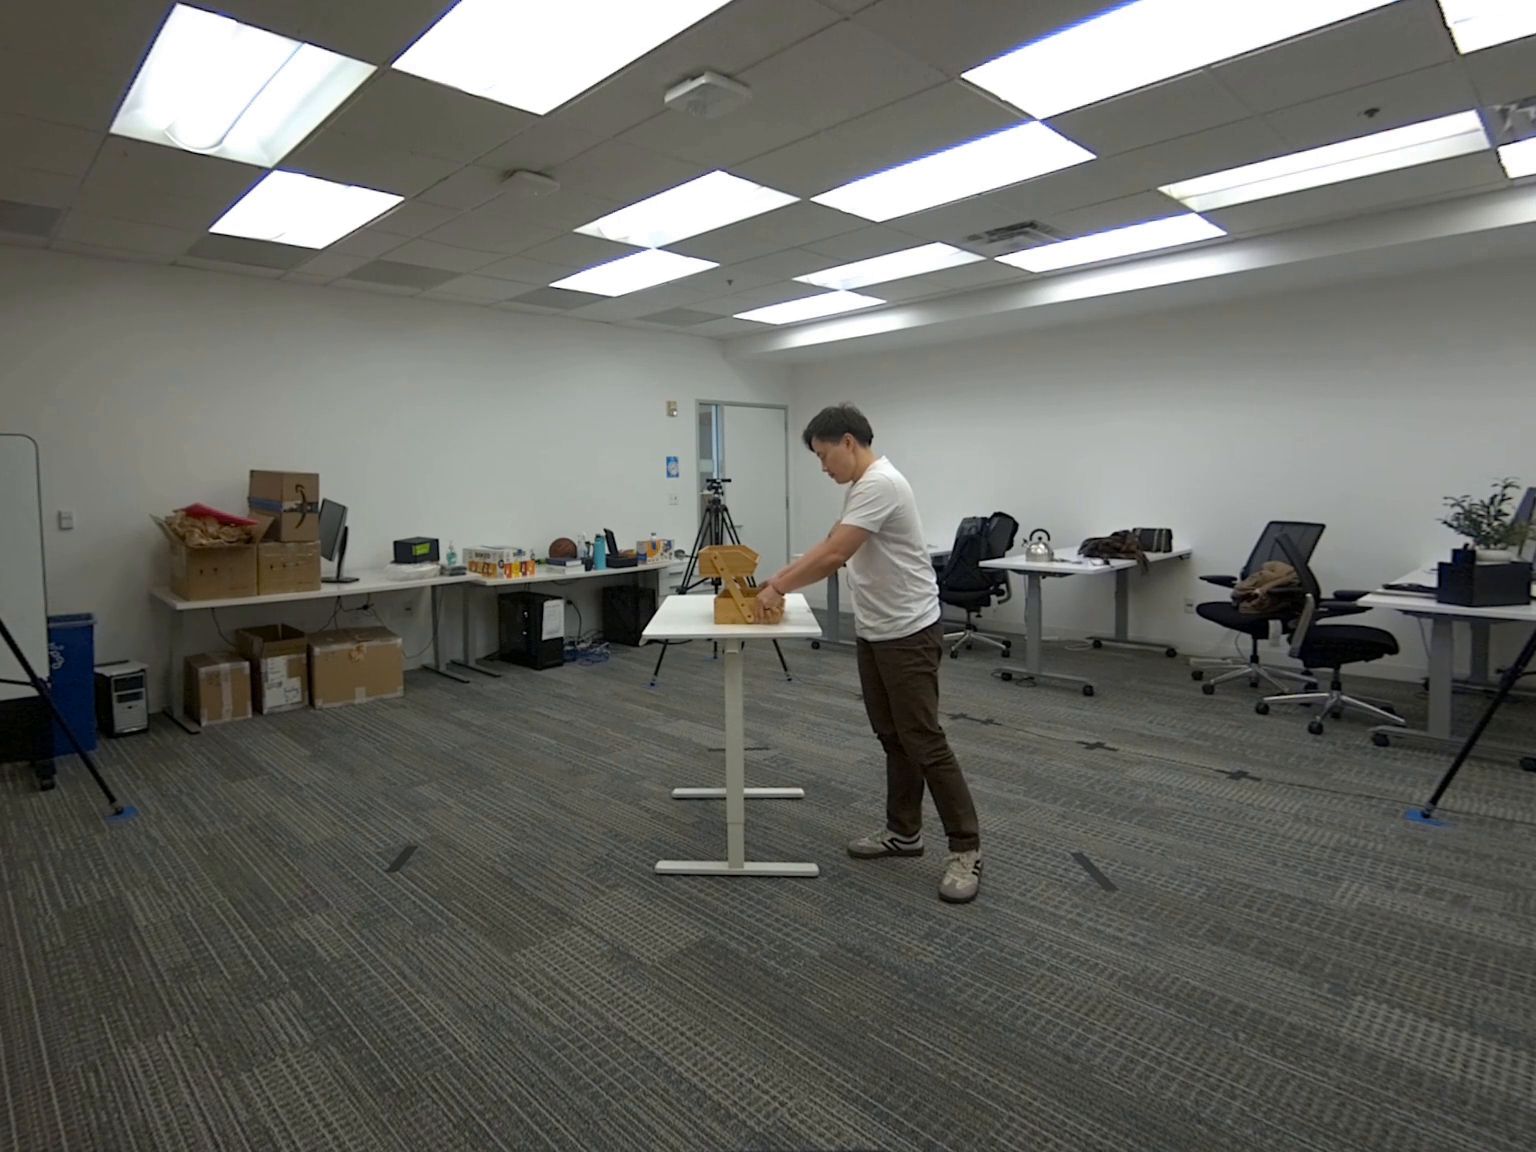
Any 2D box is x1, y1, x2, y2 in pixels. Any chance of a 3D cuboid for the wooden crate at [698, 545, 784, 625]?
[{"bbox_3d":[-0.088,0.021,3.169,0.303,0.272,0.324,-3,4,4],"label":"wooden crate"}]
